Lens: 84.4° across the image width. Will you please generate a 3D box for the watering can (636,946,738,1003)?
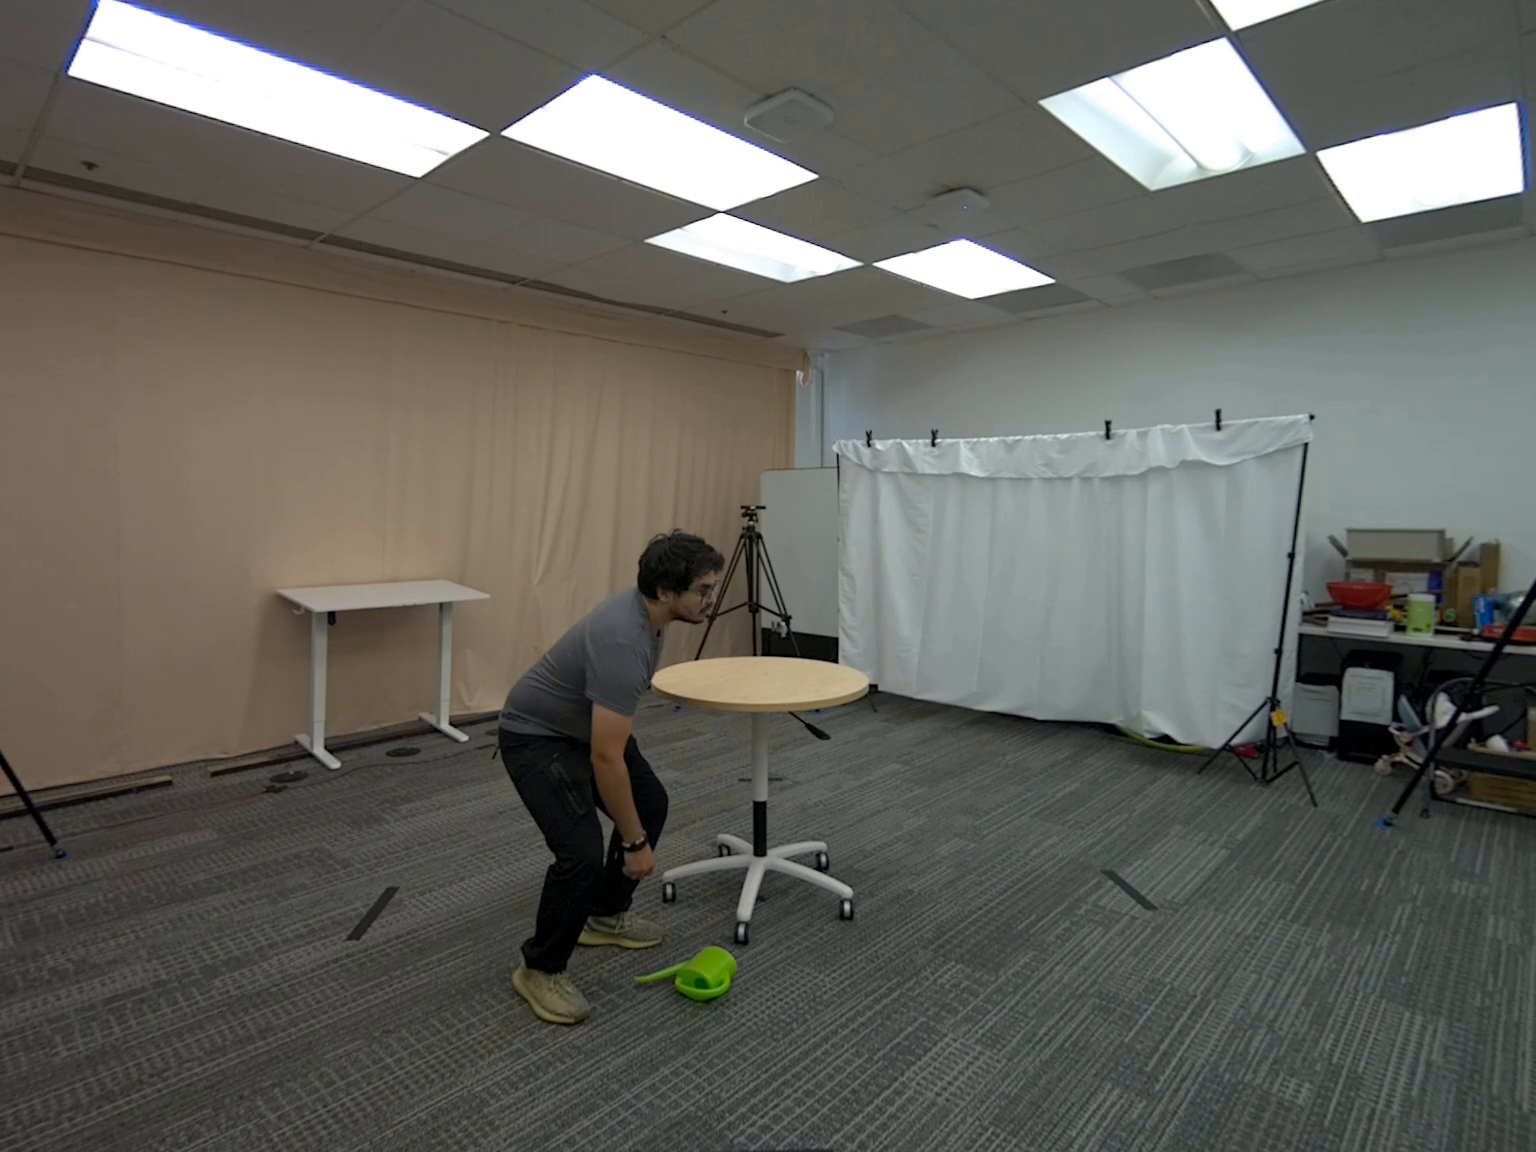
[{"bbox_3d":[-0.224,1.143,2.422,0.287,0.097,0.172,9,8,29],"label":"watering can"}]
